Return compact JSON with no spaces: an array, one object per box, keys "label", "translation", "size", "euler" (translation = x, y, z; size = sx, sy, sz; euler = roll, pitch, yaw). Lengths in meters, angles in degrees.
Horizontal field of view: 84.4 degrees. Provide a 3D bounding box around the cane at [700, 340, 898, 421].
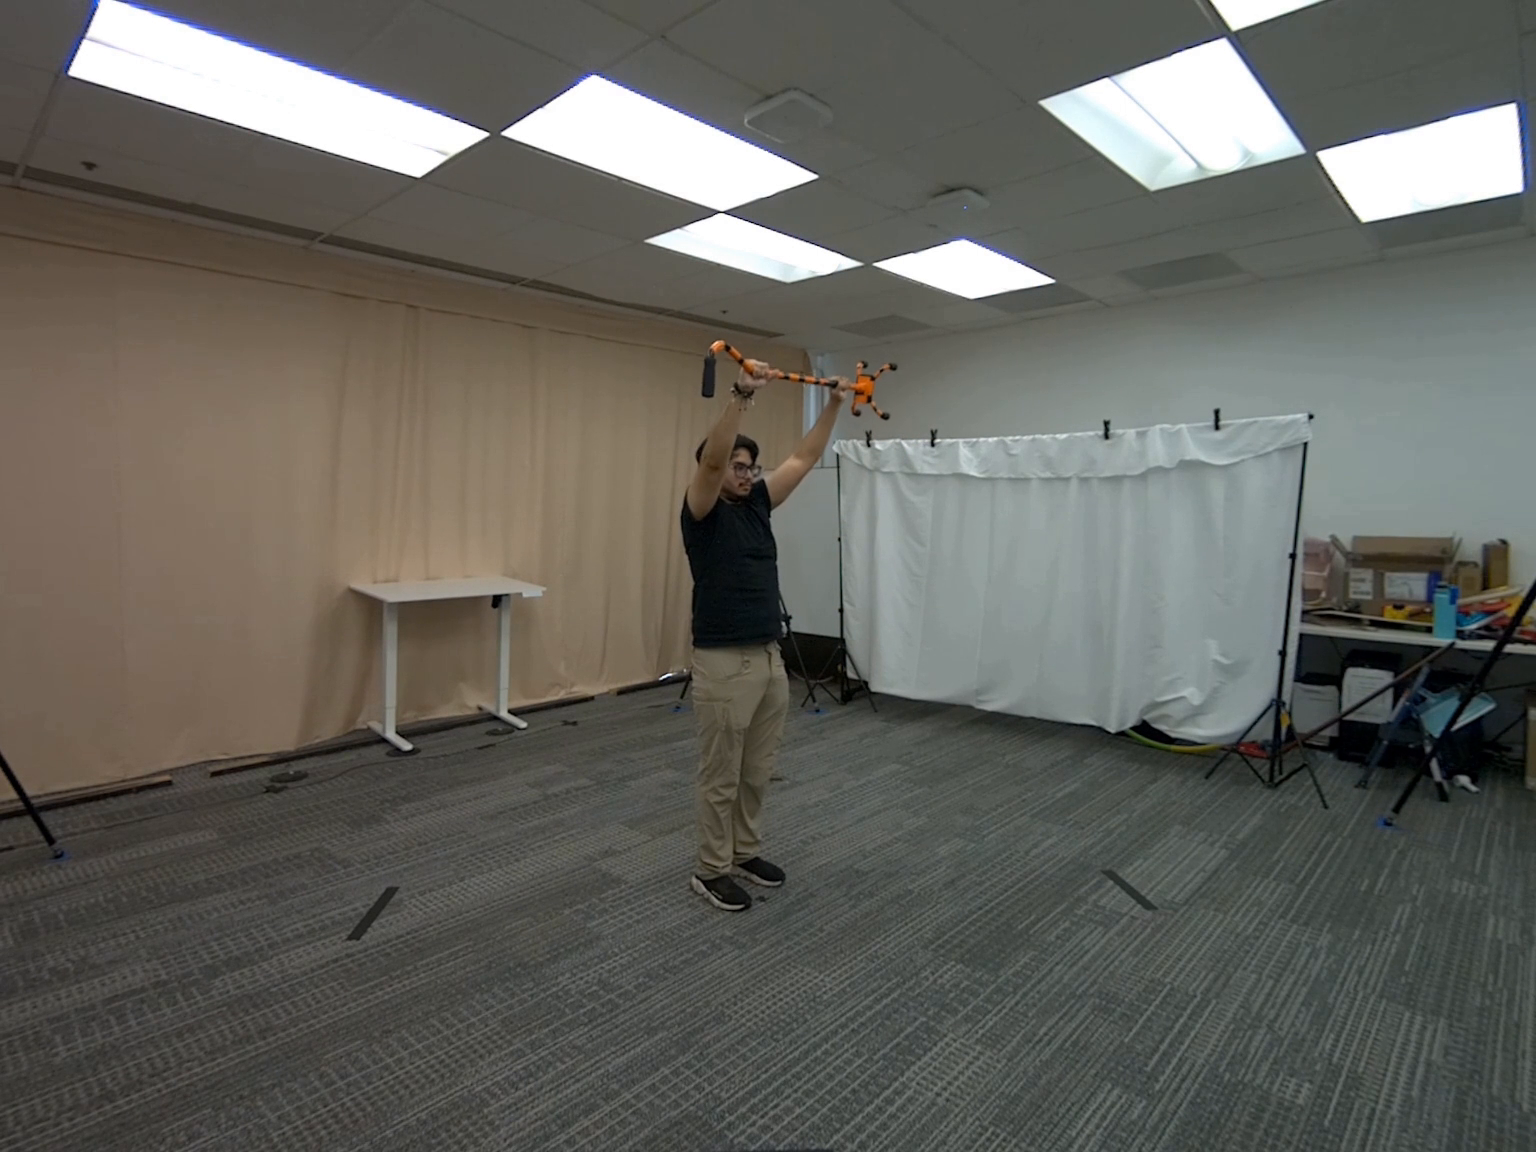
[{"label":"cane","translation":[0.119,-0.641,2.740],"size":[0.157,0.205,0.881],"euler":[13,13,39]}]
